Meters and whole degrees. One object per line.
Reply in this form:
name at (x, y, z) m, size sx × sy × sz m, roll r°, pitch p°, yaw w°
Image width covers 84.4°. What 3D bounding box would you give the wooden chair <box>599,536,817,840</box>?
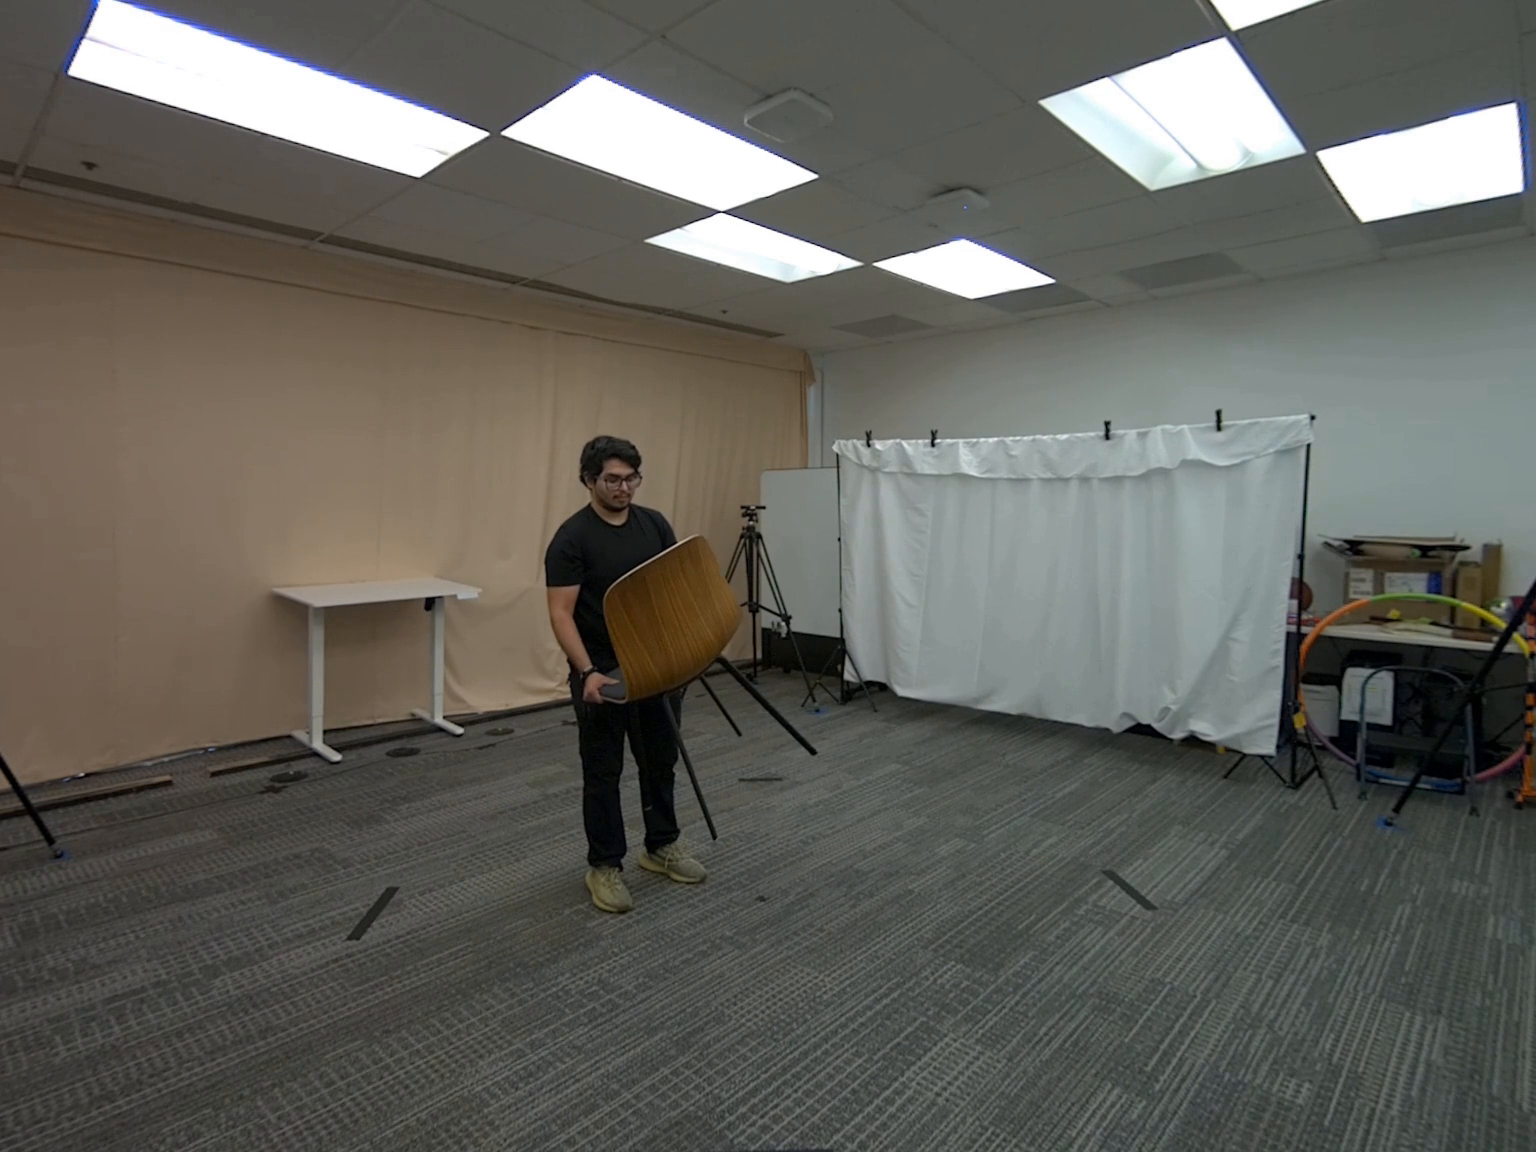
wooden chair at (-0.297, 0.315, 2.712) m, size 0.471 × 0.864 × 0.539 m, roll -32°, pitch 19°, yaw -31°
